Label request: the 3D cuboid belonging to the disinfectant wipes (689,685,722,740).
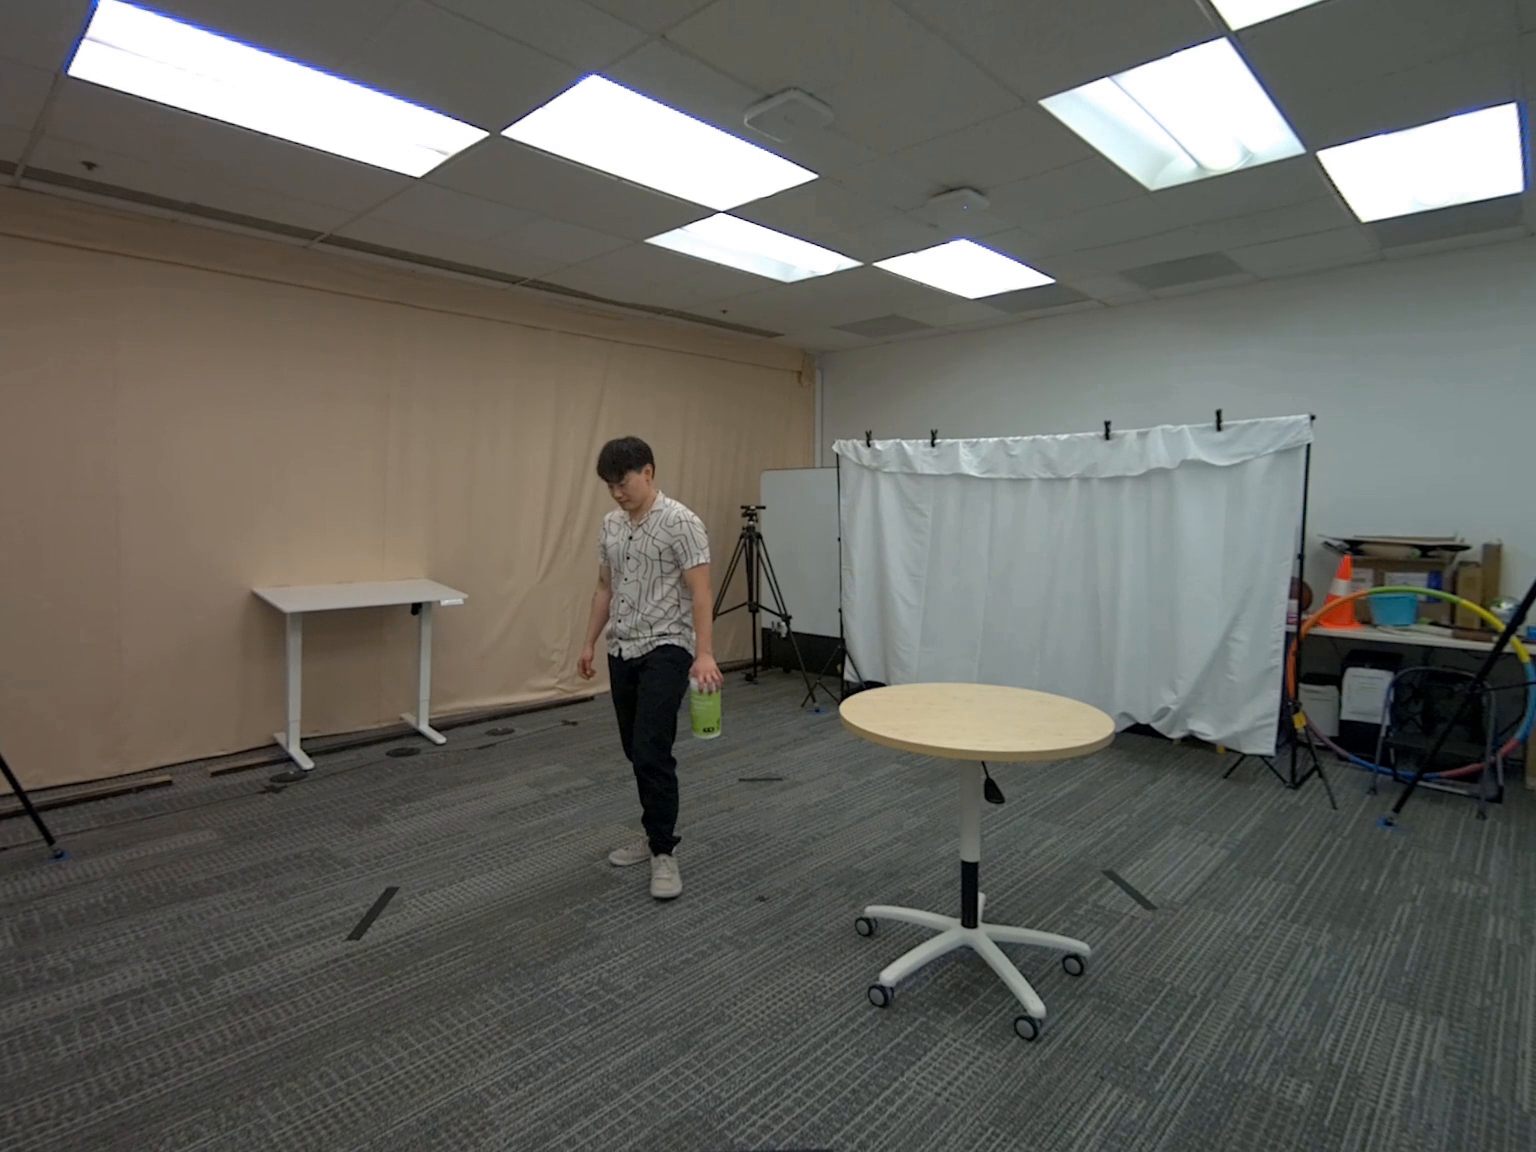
[{"bbox_3d":[-0.225,0.478,3.054,0.118,0.216,0.119,-2,11,-2],"label":"disinfectant wipes"}]
